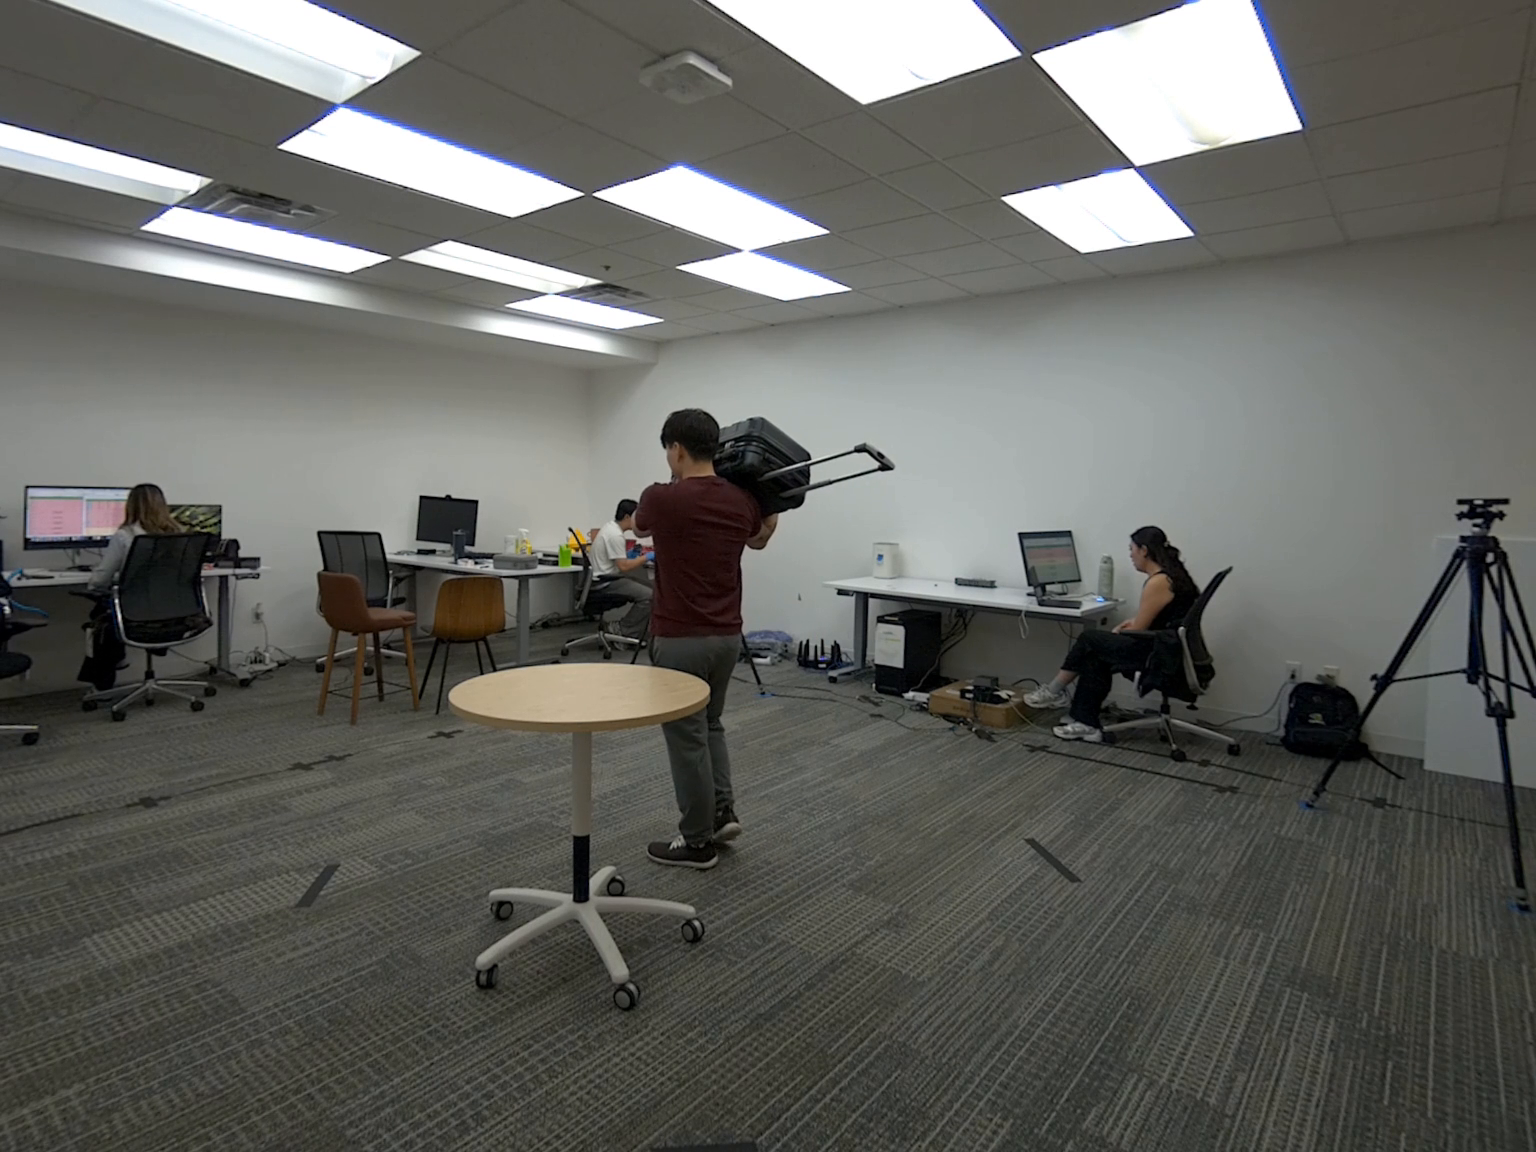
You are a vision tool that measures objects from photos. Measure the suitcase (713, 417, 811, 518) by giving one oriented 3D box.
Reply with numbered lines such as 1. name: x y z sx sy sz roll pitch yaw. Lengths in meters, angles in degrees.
1. suitcase: 0.019 -0.427 3.190 1.002 0.261 0.369 -12 -34 44
